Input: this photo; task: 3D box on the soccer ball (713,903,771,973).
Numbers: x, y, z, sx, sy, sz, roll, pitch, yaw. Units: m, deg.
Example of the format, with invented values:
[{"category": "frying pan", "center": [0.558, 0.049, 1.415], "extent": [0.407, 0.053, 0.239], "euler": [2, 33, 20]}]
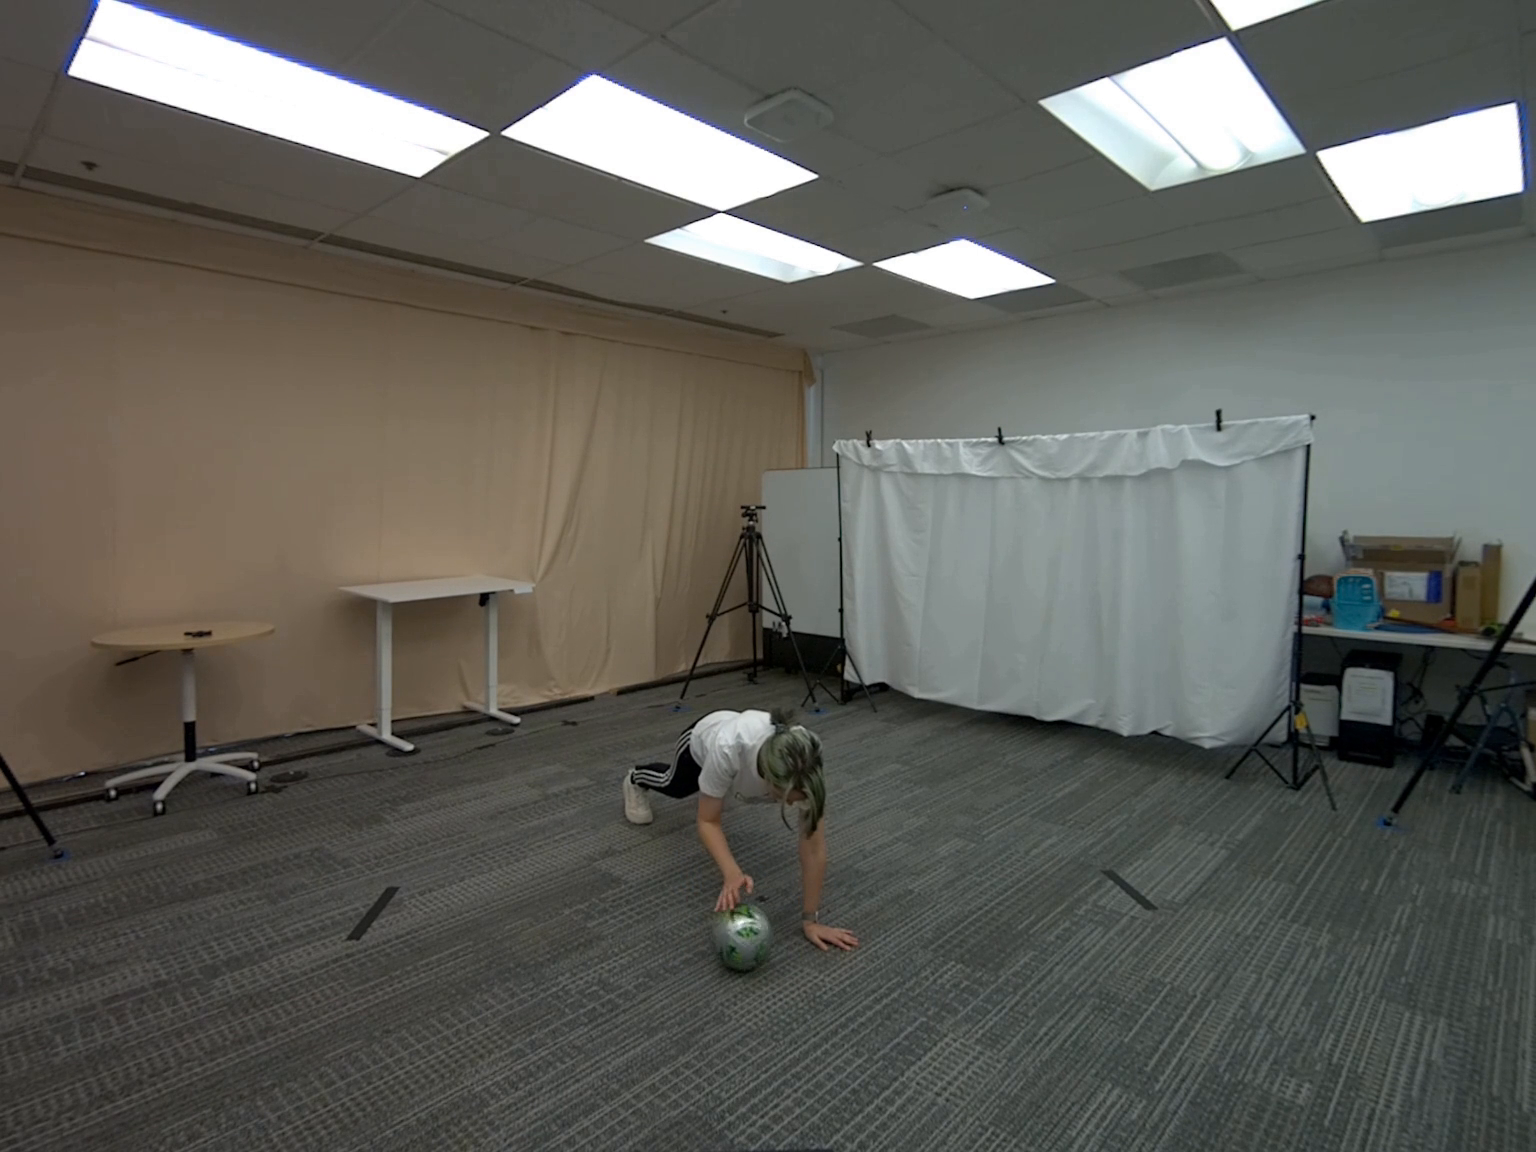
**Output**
[{"category": "soccer ball", "center": [-0.077, 1.081, 2.544], "extent": [0.187, 0.187, 0.188], "euler": [0, 4, -2]}]
